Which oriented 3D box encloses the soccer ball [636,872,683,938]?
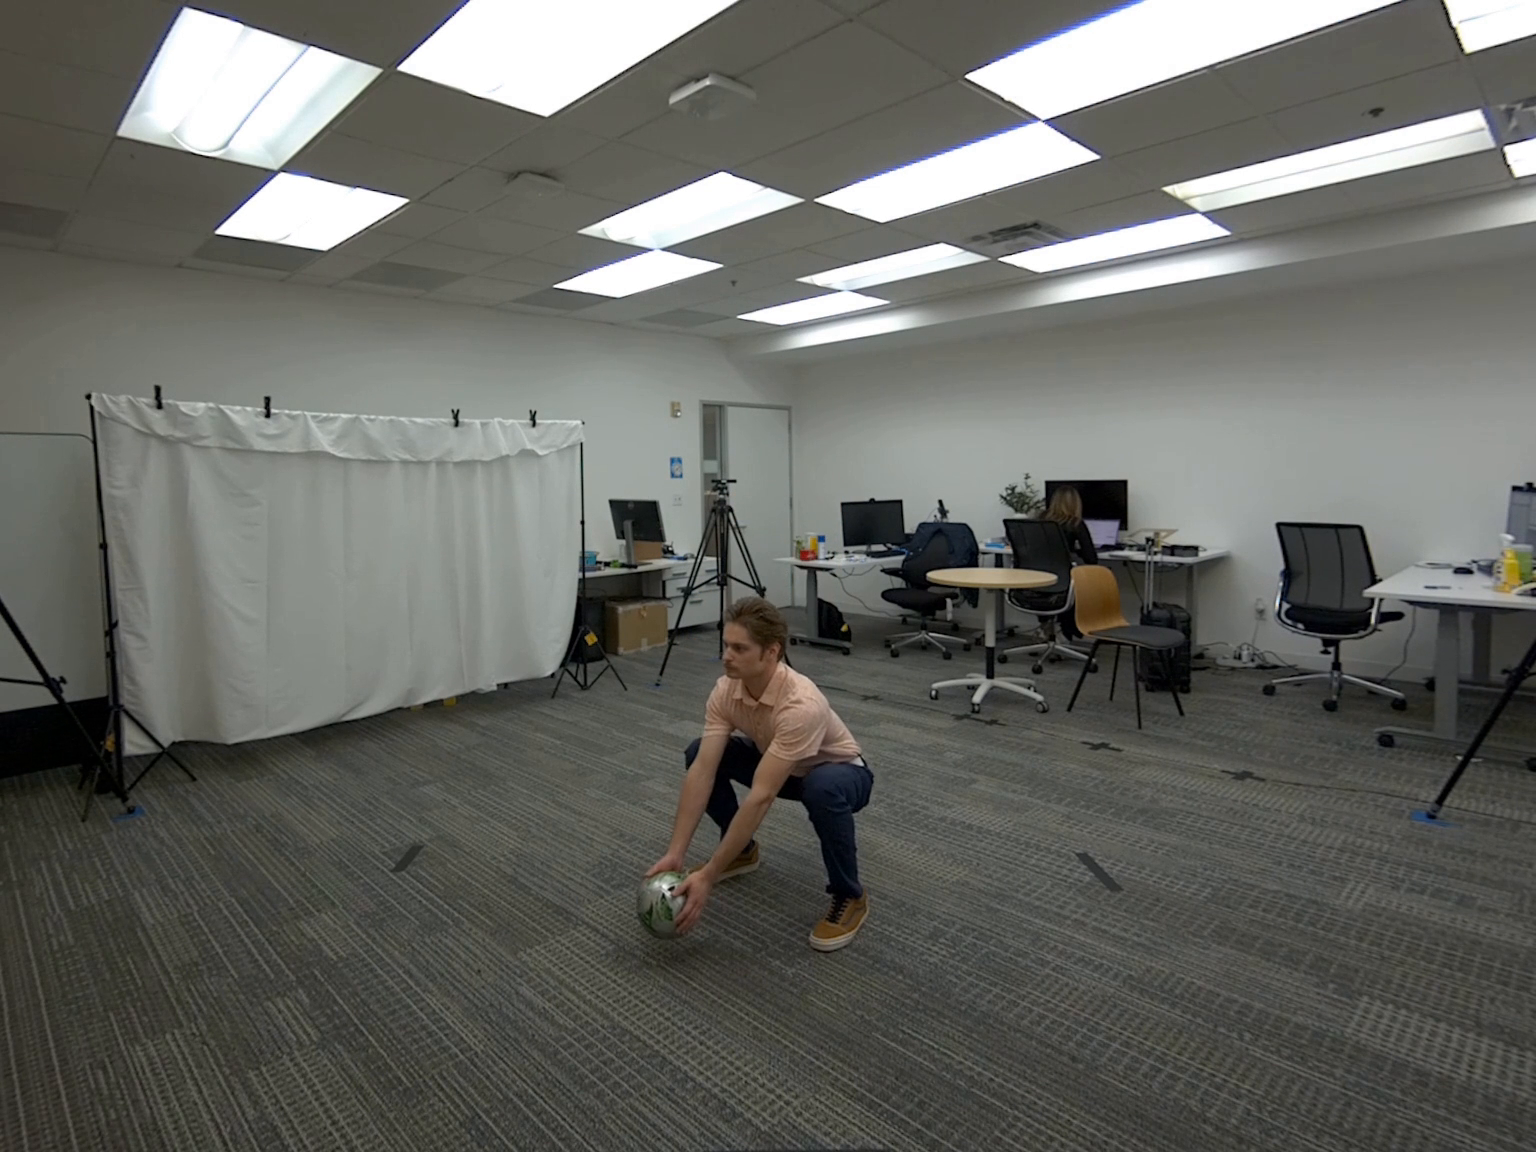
[{"bbox_3d":[-0.291,0.975,2.535,0.187,0.187,0.188,-1,5,-2],"label":"soccer ball"}]
